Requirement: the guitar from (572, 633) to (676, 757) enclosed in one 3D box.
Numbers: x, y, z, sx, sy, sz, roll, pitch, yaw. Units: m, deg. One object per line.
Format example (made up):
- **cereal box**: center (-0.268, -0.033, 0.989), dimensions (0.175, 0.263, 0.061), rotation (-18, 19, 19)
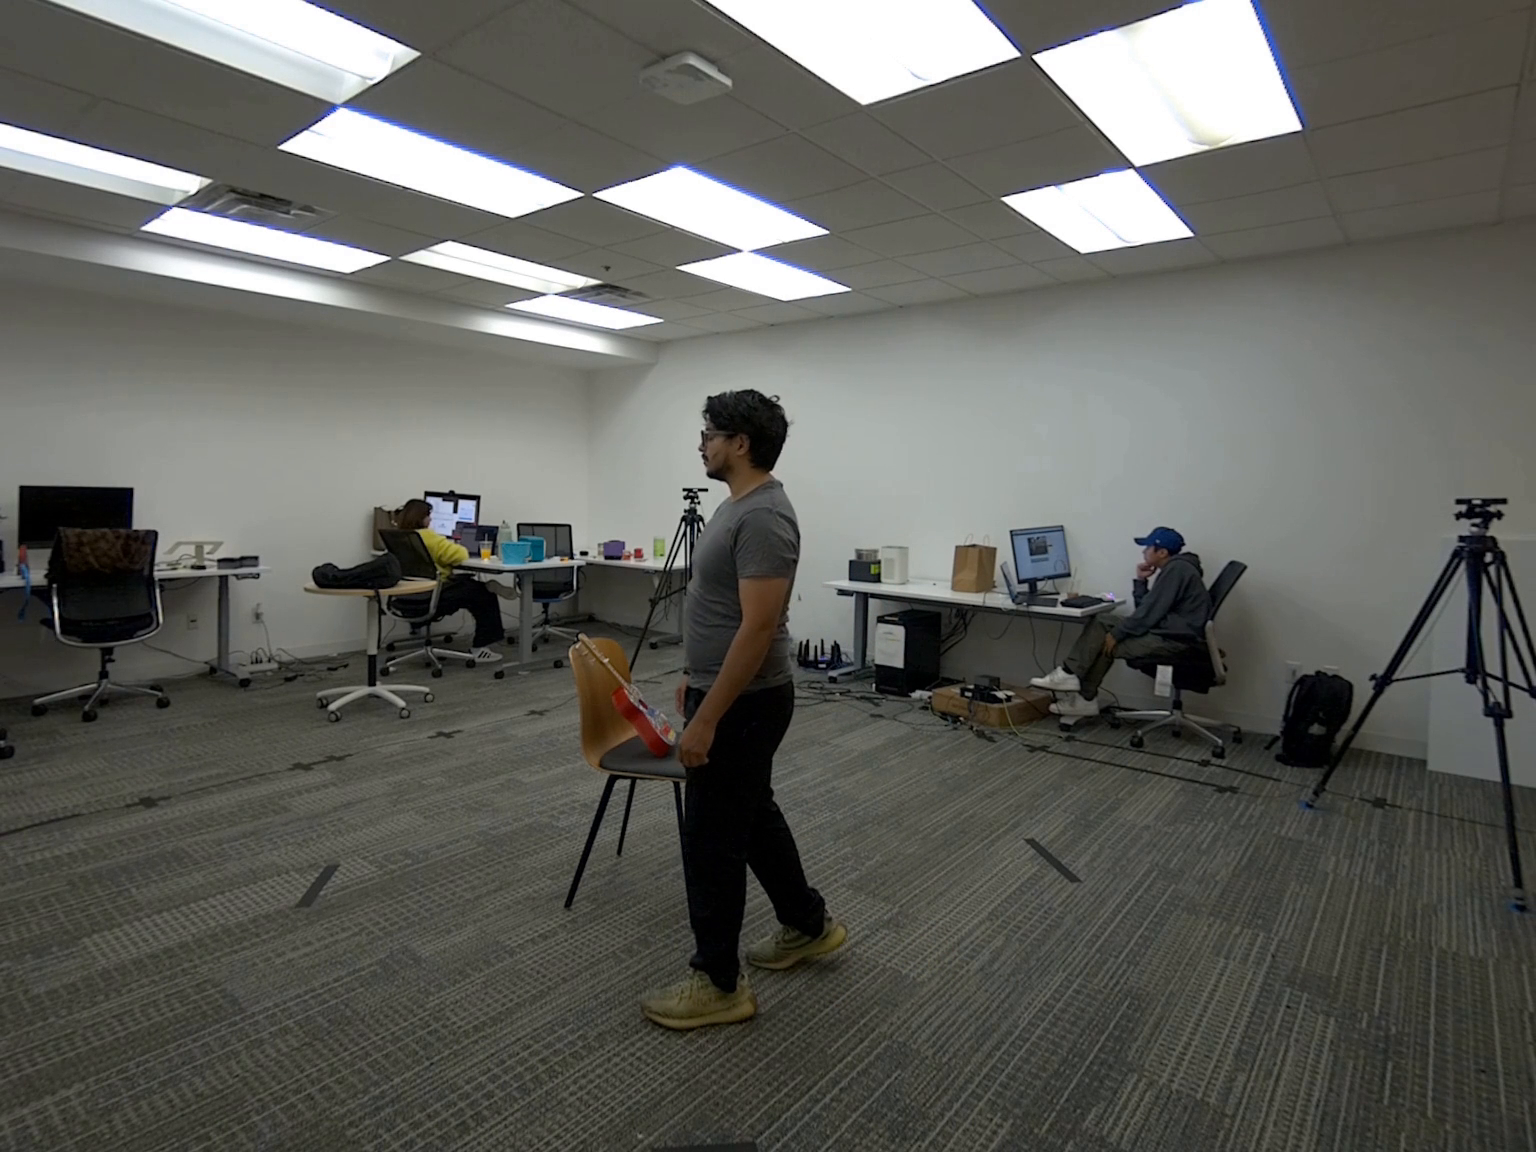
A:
- **guitar**: center (-0.505, 0.401, 2.974), dimensions (0.071, 0.503, 0.191), rotation (-42, -7, 6)
